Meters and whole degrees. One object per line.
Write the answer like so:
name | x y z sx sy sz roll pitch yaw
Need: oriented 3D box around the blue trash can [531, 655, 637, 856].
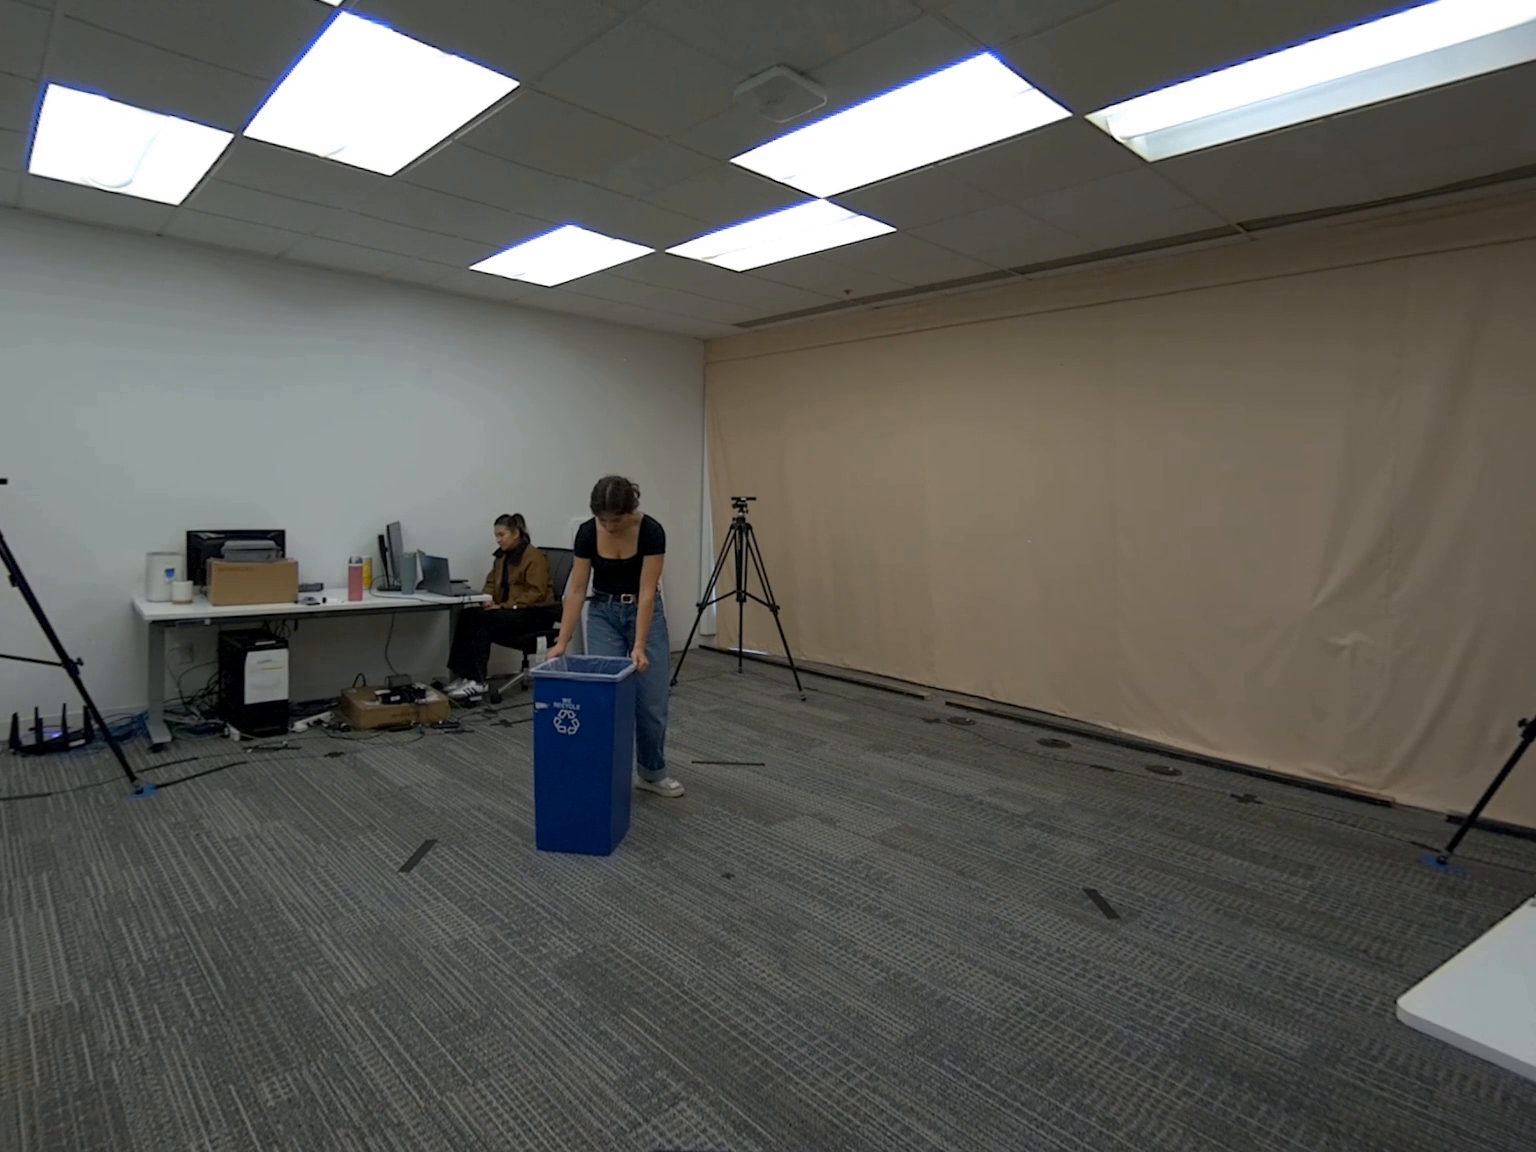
blue trash can | -0.749 0.716 3.400 0.376 0.712 0.376 1 3 7
